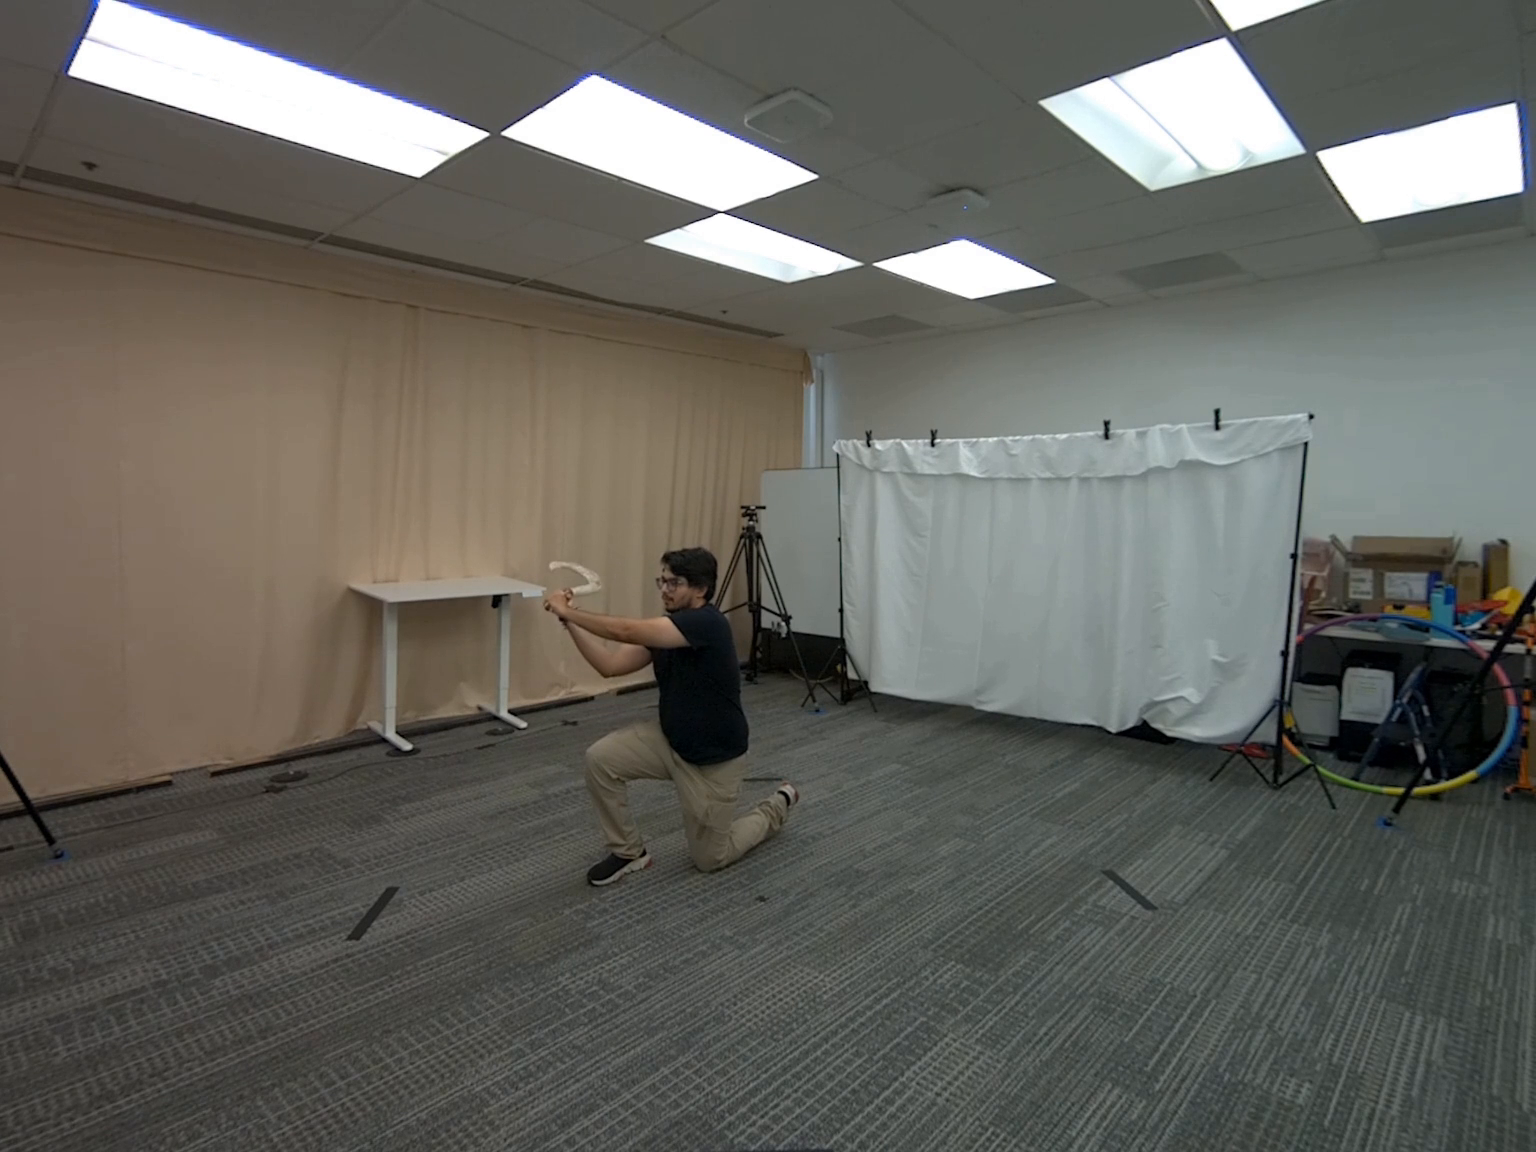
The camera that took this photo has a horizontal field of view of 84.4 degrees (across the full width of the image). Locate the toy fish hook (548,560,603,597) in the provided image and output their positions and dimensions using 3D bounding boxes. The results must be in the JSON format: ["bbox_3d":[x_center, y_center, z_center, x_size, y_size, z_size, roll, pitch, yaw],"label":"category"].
[{"bbox_3d":[-0.821,0.047,3.334,0.225,0.048,0.506,25,12,0],"label":"toy fish hook"}]
